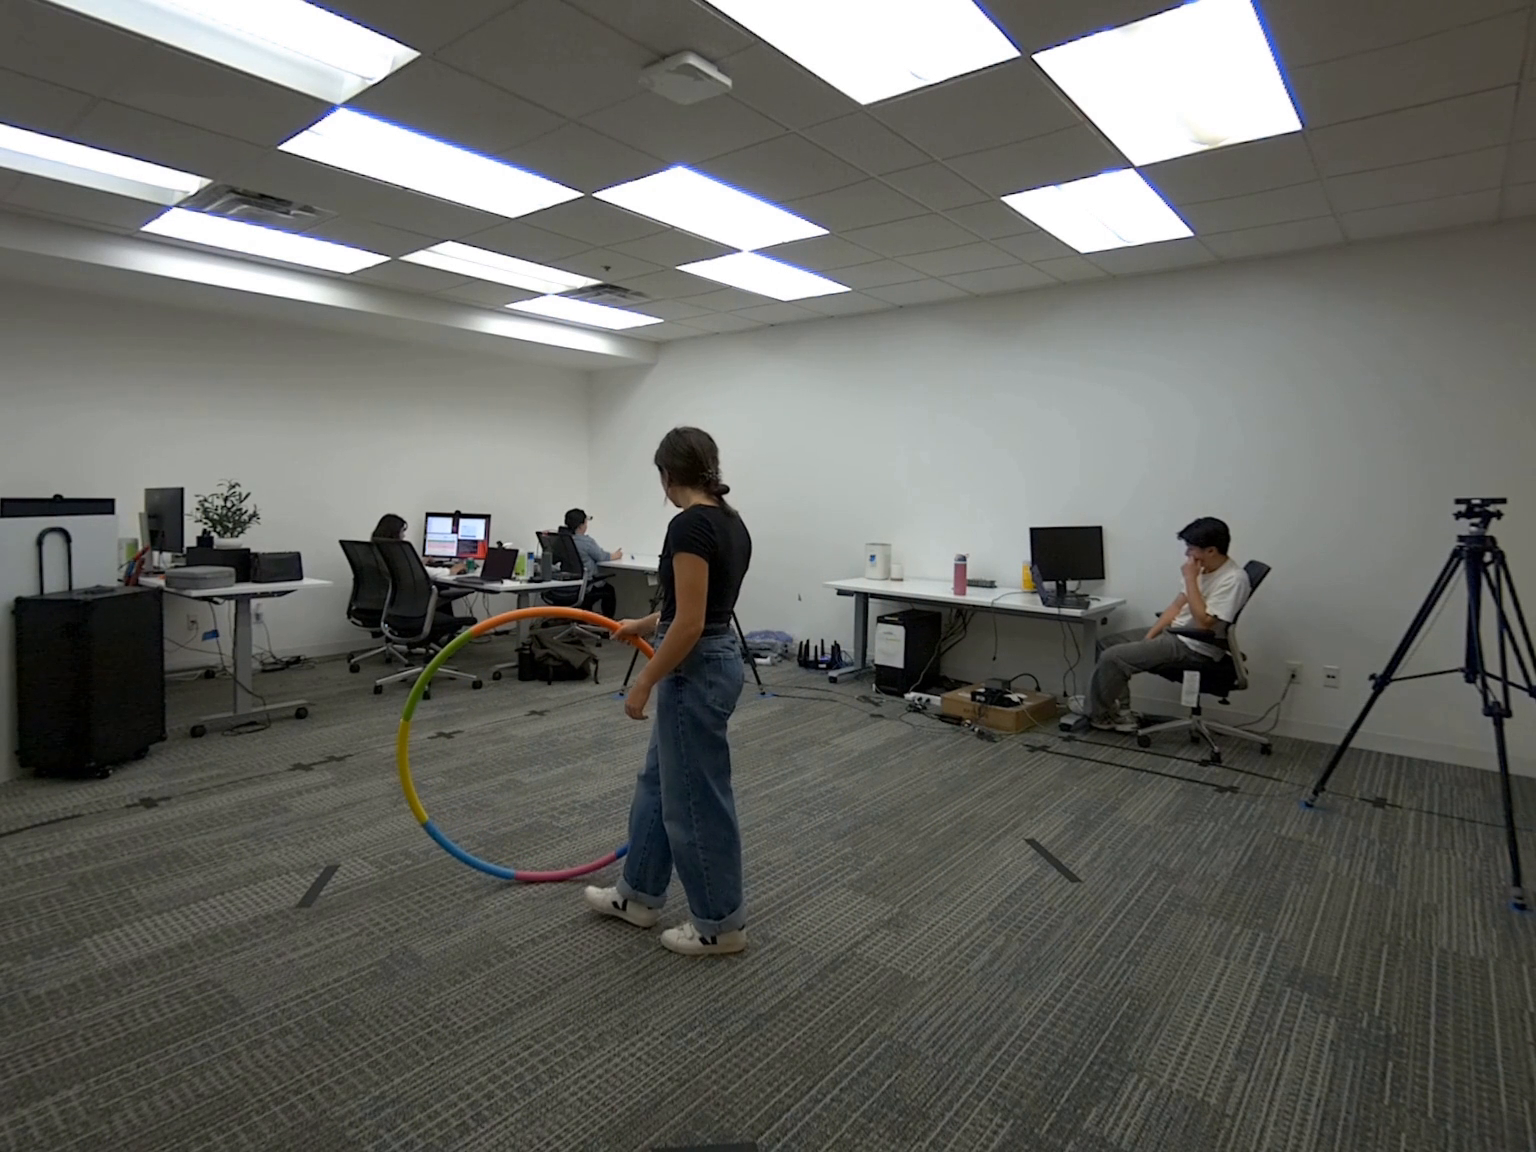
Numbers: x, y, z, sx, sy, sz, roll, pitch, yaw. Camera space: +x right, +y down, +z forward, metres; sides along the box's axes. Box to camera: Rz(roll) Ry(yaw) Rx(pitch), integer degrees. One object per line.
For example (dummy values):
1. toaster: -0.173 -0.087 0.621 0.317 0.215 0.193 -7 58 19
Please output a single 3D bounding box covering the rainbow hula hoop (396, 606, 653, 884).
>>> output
1. rainbow hula hoop: -0.776 0.587 2.940 0.969 0.973 0.036 0 6 -9
